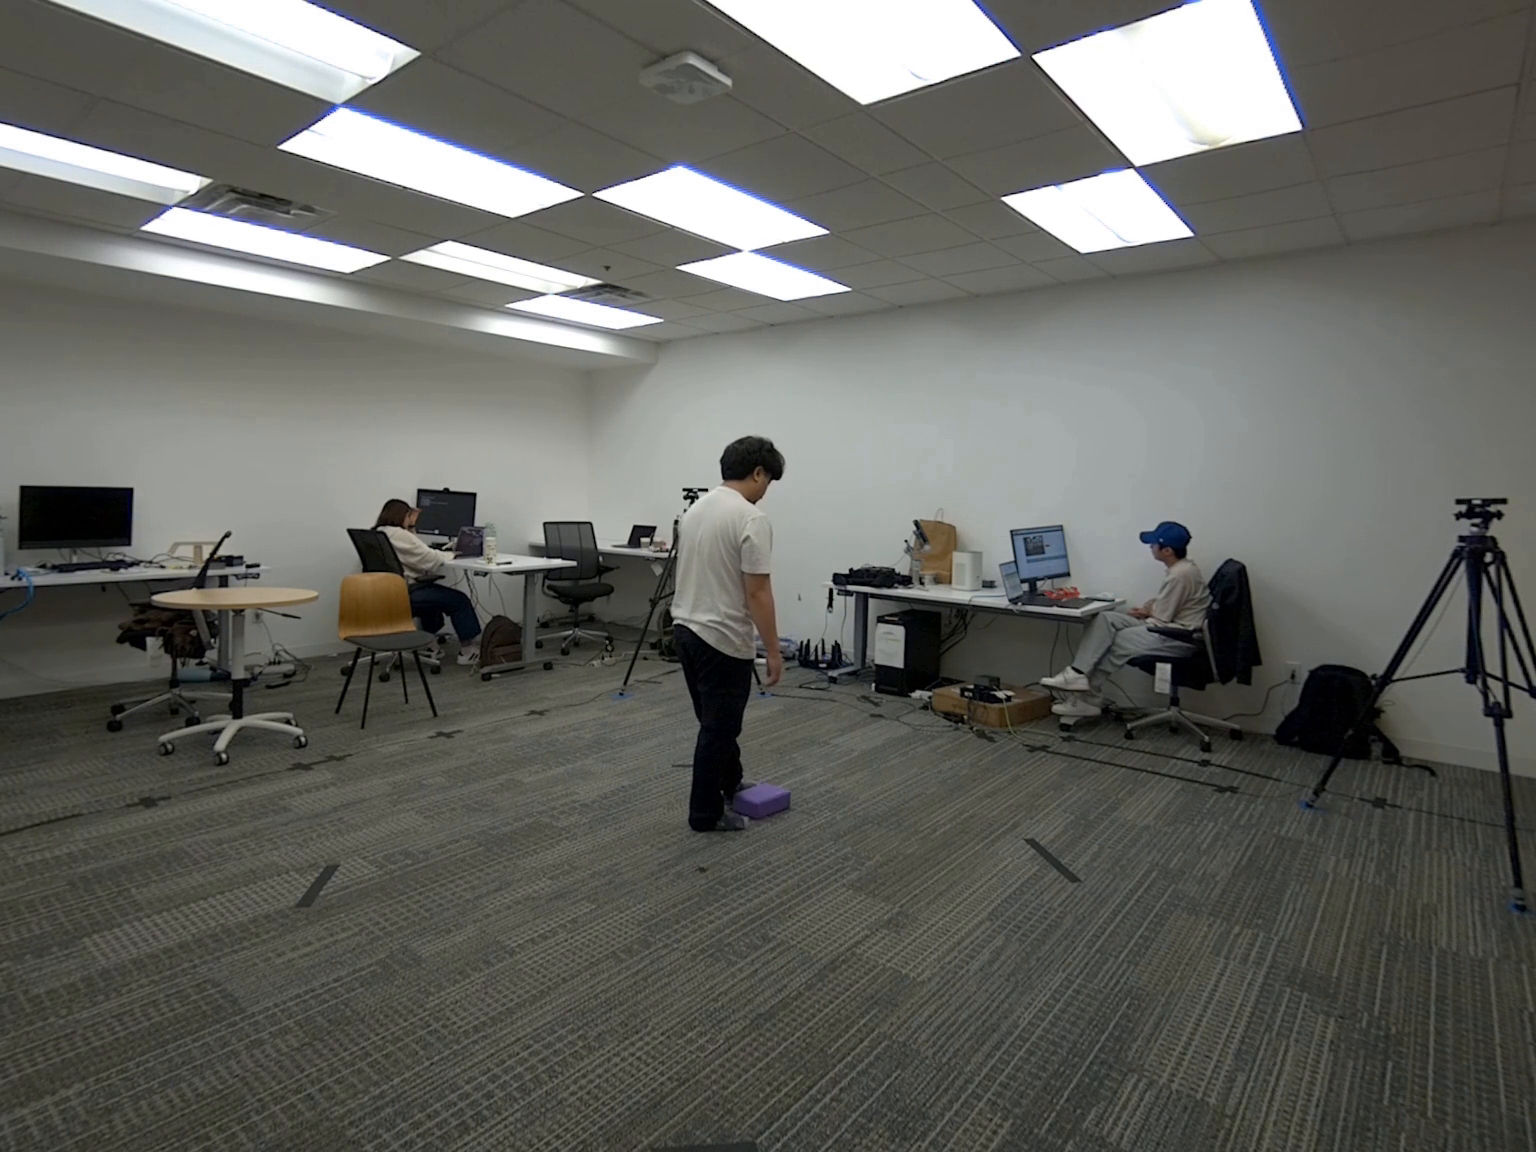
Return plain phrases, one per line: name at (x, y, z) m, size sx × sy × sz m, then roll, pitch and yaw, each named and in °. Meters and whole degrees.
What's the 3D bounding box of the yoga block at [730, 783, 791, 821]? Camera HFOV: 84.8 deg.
yoga block at (-0.037, 0.976, 3.702) m, size 0.154 × 0.076 × 0.222 m, roll 7°, pitch 8°, yaw 42°
